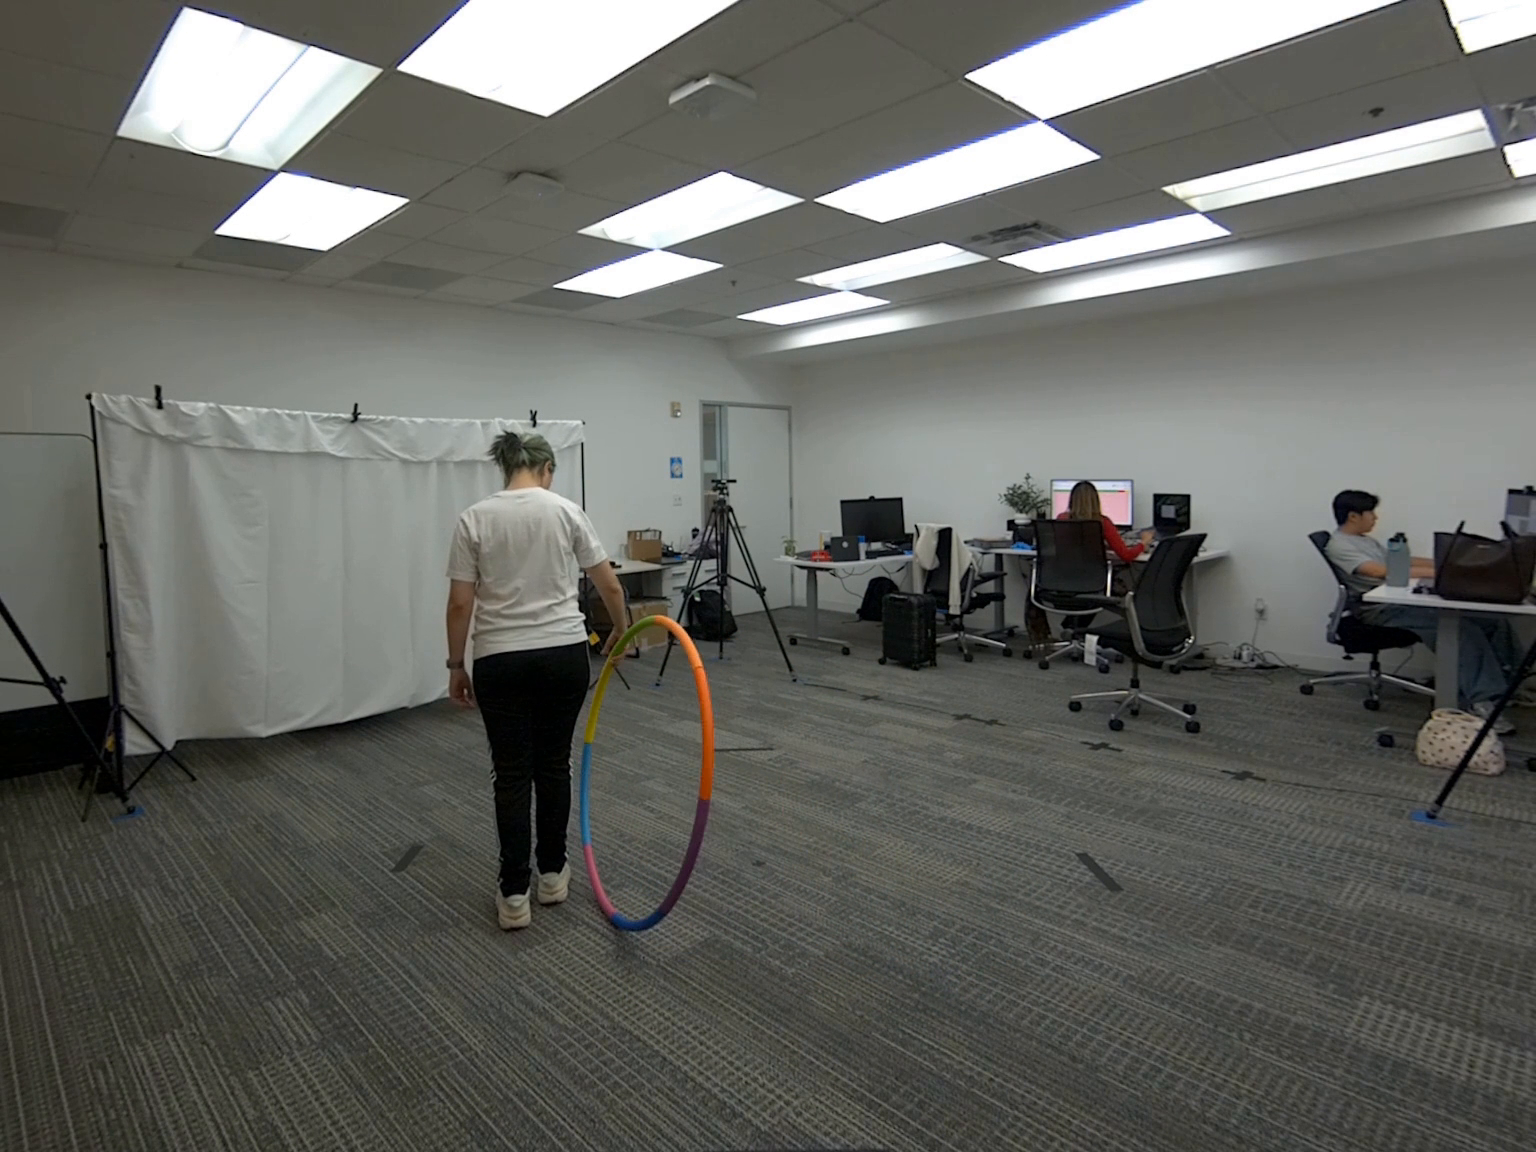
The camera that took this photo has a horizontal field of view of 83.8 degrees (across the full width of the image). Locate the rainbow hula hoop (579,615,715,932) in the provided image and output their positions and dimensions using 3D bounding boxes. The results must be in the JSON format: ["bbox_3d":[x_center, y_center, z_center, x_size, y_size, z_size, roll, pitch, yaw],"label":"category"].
[{"bbox_3d":[-0.419,0.623,2.766,0.034,0.980,1.005,12,-2,-30],"label":"rainbow hula hoop"}]
